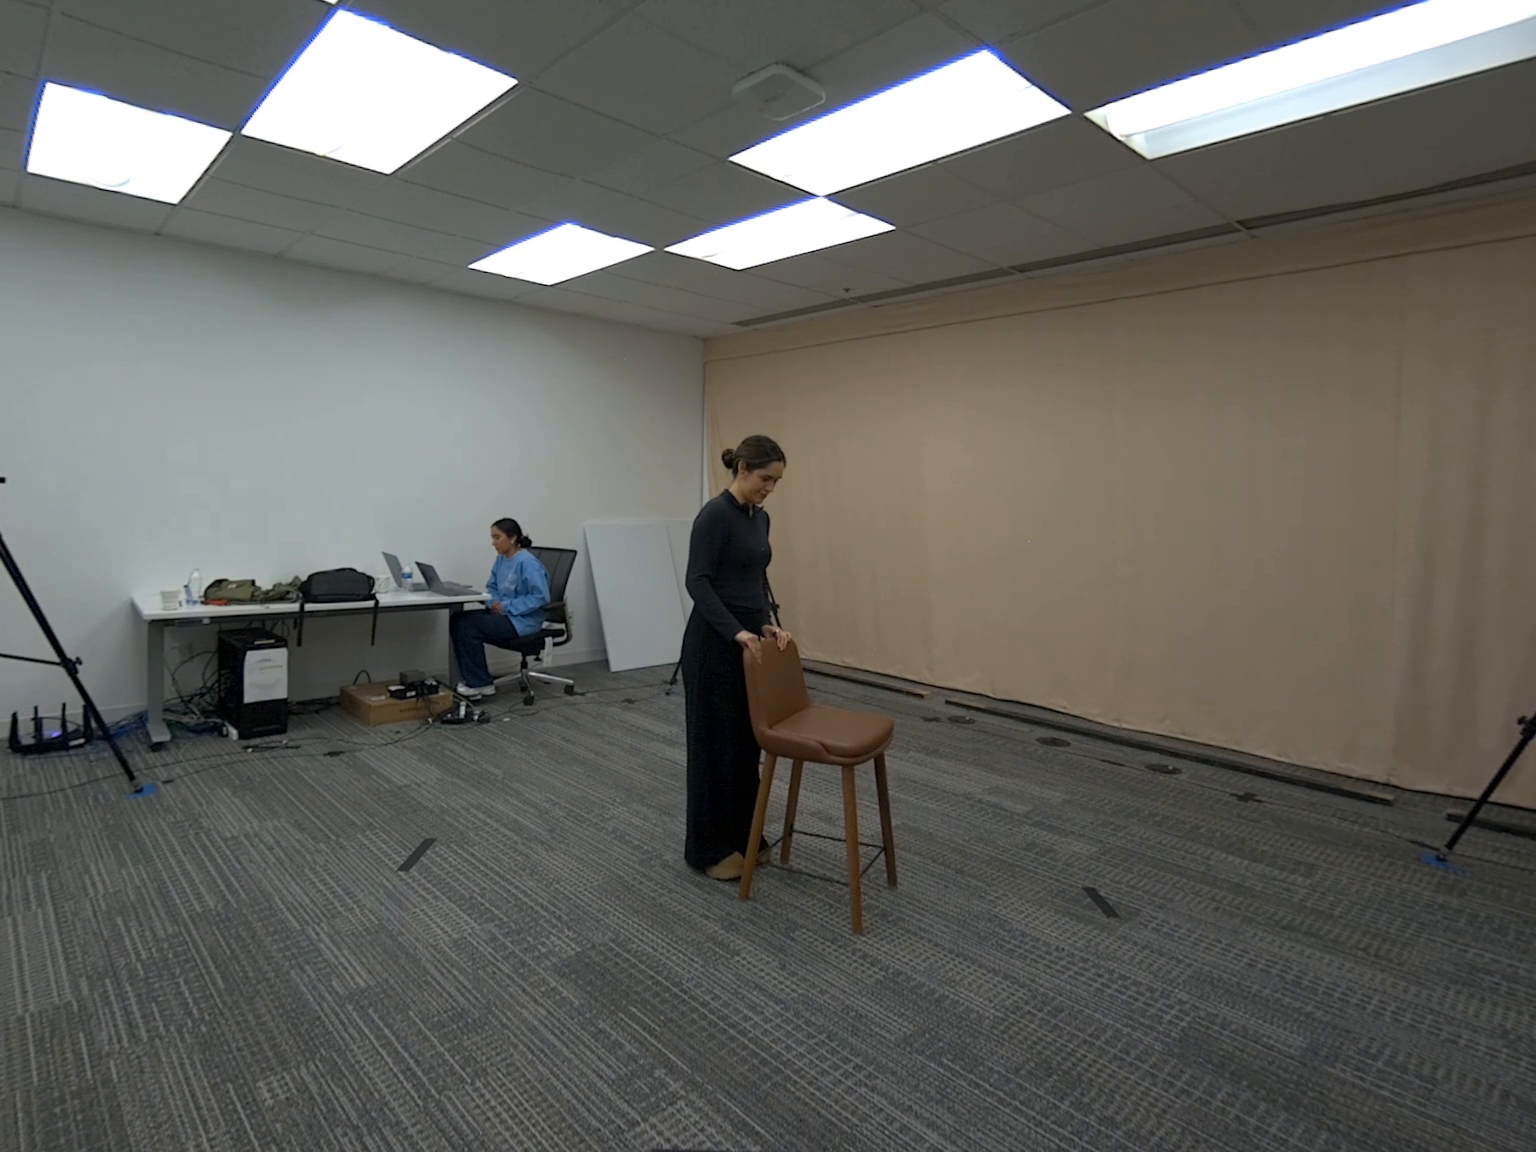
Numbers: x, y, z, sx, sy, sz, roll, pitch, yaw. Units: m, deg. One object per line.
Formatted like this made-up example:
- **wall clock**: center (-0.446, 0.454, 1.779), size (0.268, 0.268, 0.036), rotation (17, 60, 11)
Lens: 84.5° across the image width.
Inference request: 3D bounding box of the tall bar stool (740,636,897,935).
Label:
- **tall bar stool**: center (0.174, 0.685, 2.949), size (0.477, 0.888, 0.448), rotation (1, 3, 28)
